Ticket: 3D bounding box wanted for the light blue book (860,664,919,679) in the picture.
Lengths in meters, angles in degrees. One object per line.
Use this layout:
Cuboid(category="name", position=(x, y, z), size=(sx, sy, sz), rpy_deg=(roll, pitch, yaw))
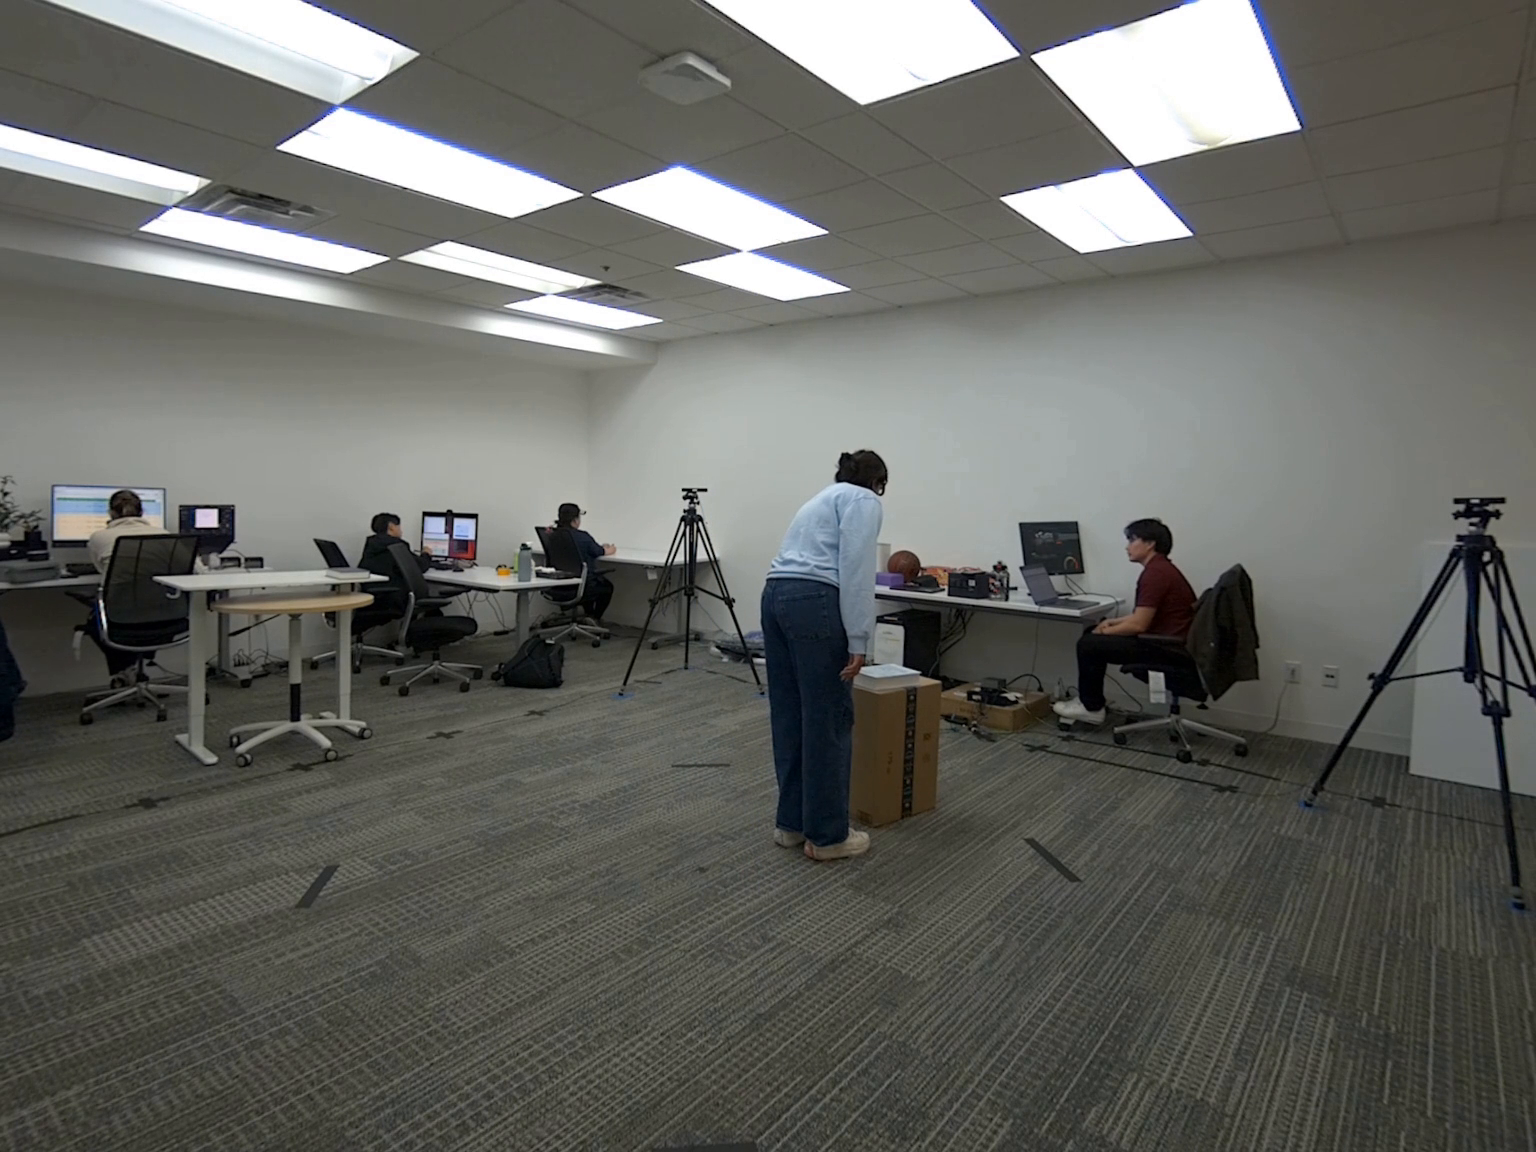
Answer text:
Cuboid(category="light blue book", position=(0.493, 0.432, 3.679), size=(0.254, 0.059, 0.198), rpy_deg=(-3, 7, -33))
